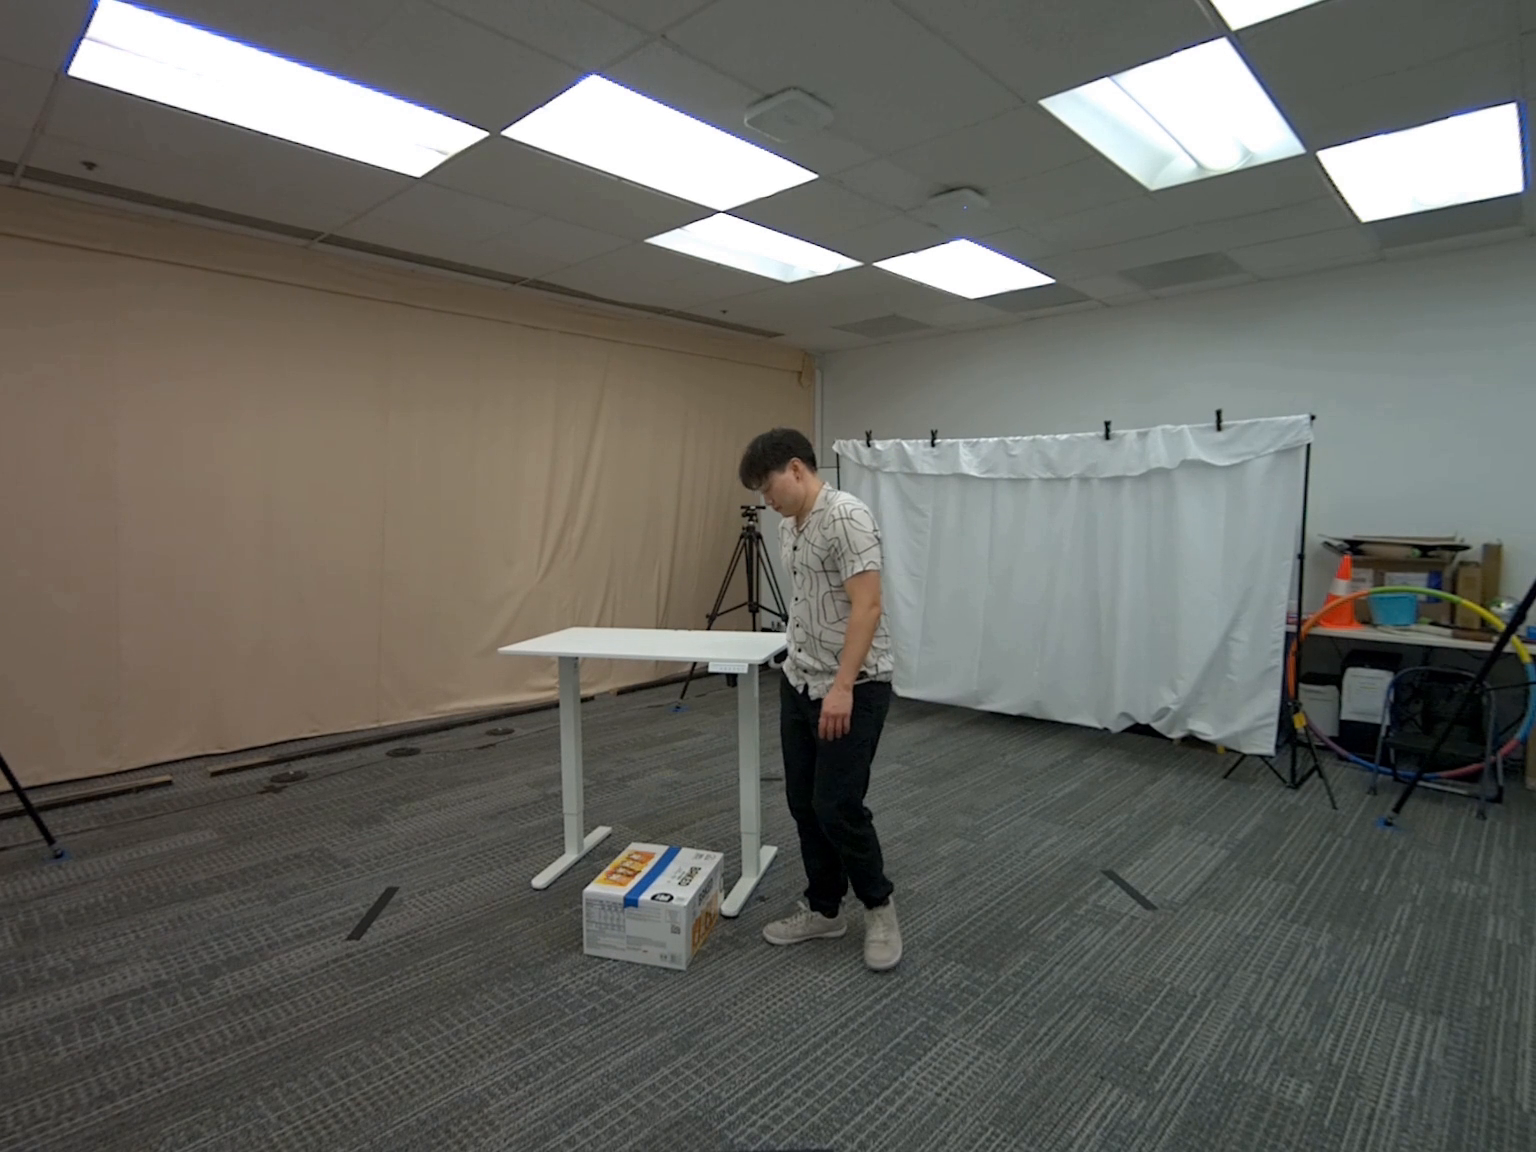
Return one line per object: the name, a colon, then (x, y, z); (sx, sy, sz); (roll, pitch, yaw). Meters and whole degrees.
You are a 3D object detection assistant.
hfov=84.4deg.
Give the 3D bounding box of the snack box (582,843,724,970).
snack box: (-0.361, 1.065, 2.745); (0.346, 0.205, 0.399); (1, 4, 15)
